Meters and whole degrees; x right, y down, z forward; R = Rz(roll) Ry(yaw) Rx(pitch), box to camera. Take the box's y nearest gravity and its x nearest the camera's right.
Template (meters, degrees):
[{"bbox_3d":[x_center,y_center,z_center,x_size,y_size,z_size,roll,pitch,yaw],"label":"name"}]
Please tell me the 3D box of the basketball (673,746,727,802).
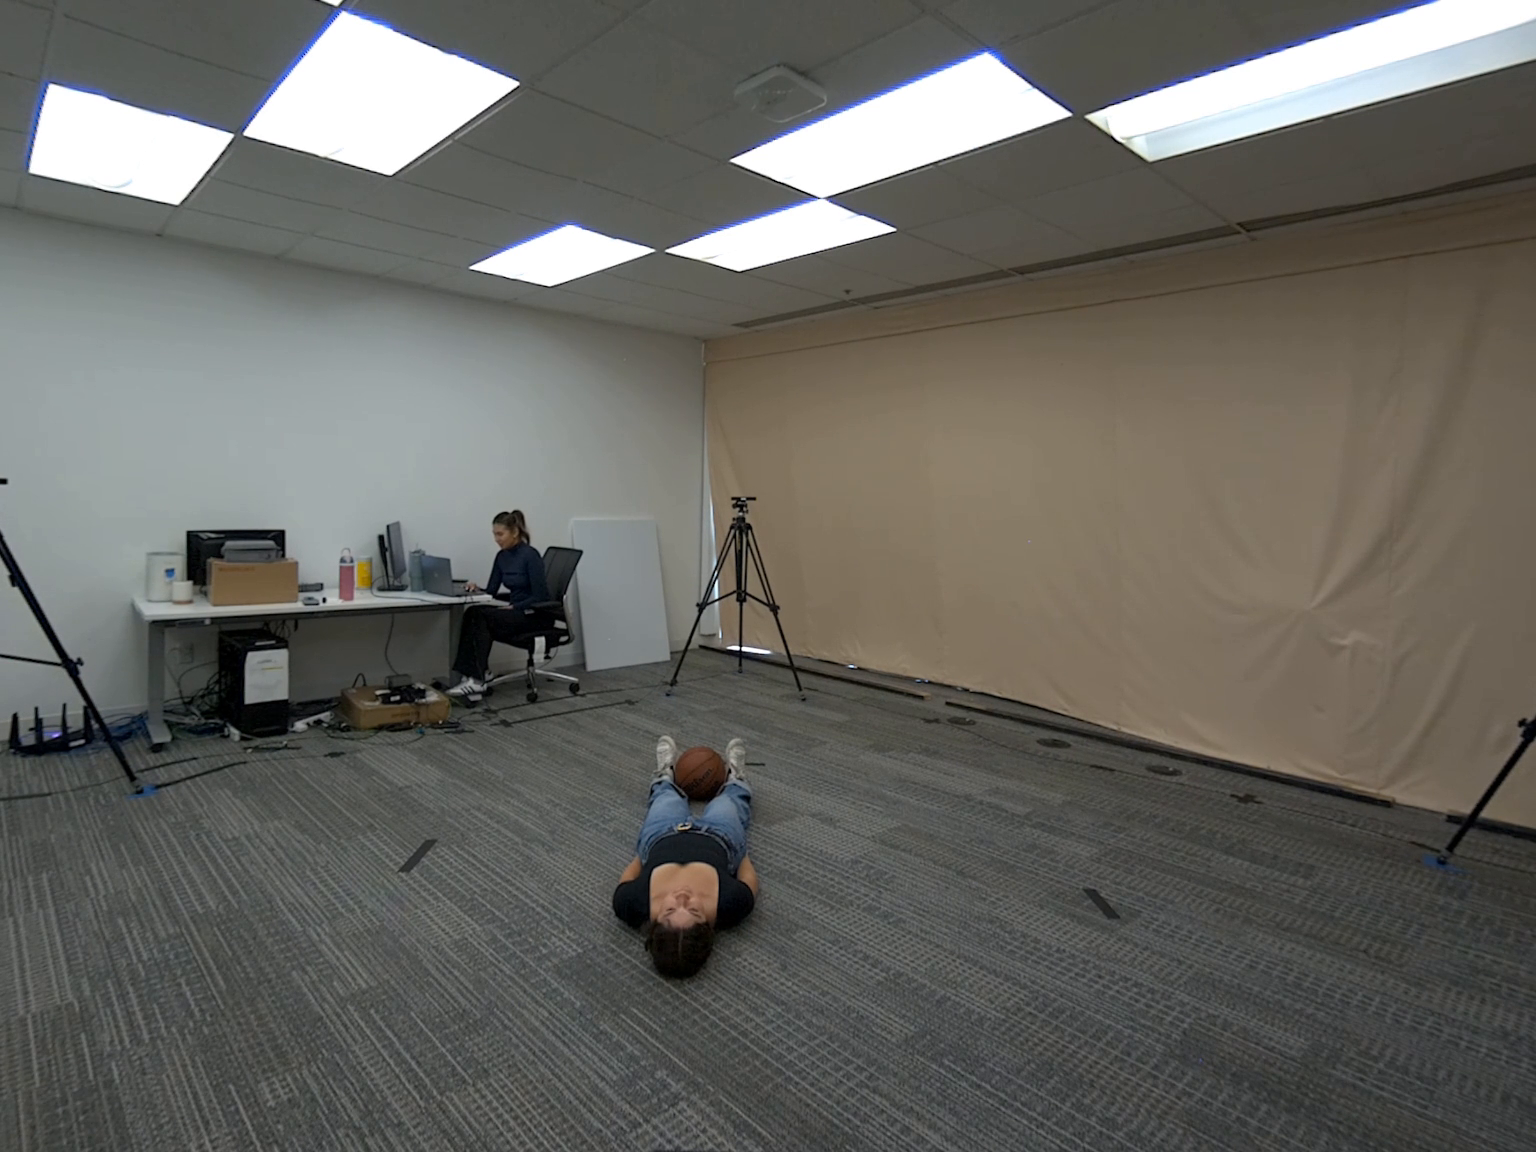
[{"bbox_3d":[-0.327,0.911,3.908,0.236,0.235,0.237,1,4,-1],"label":"basketball"}]
